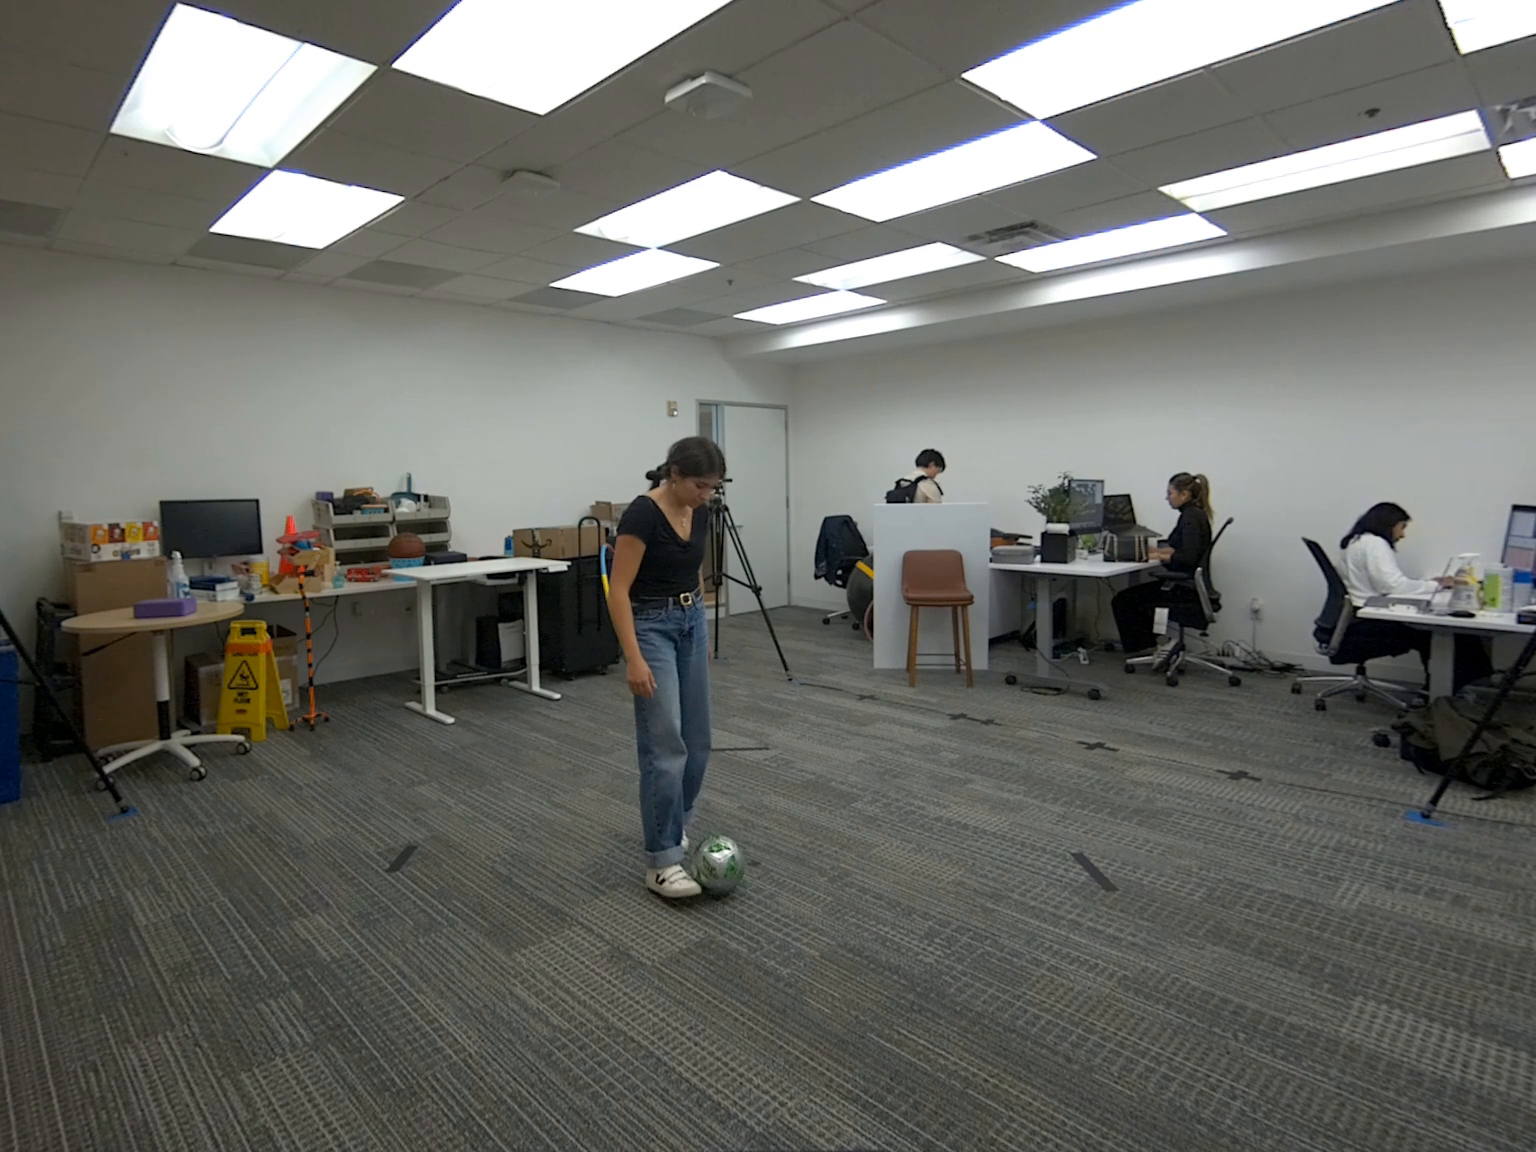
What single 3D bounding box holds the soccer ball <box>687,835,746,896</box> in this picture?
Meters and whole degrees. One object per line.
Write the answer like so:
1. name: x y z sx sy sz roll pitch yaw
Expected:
1. soccer ball: -0.156 0.967 2.891 0.187 0.187 0.188 -1 5 -2
